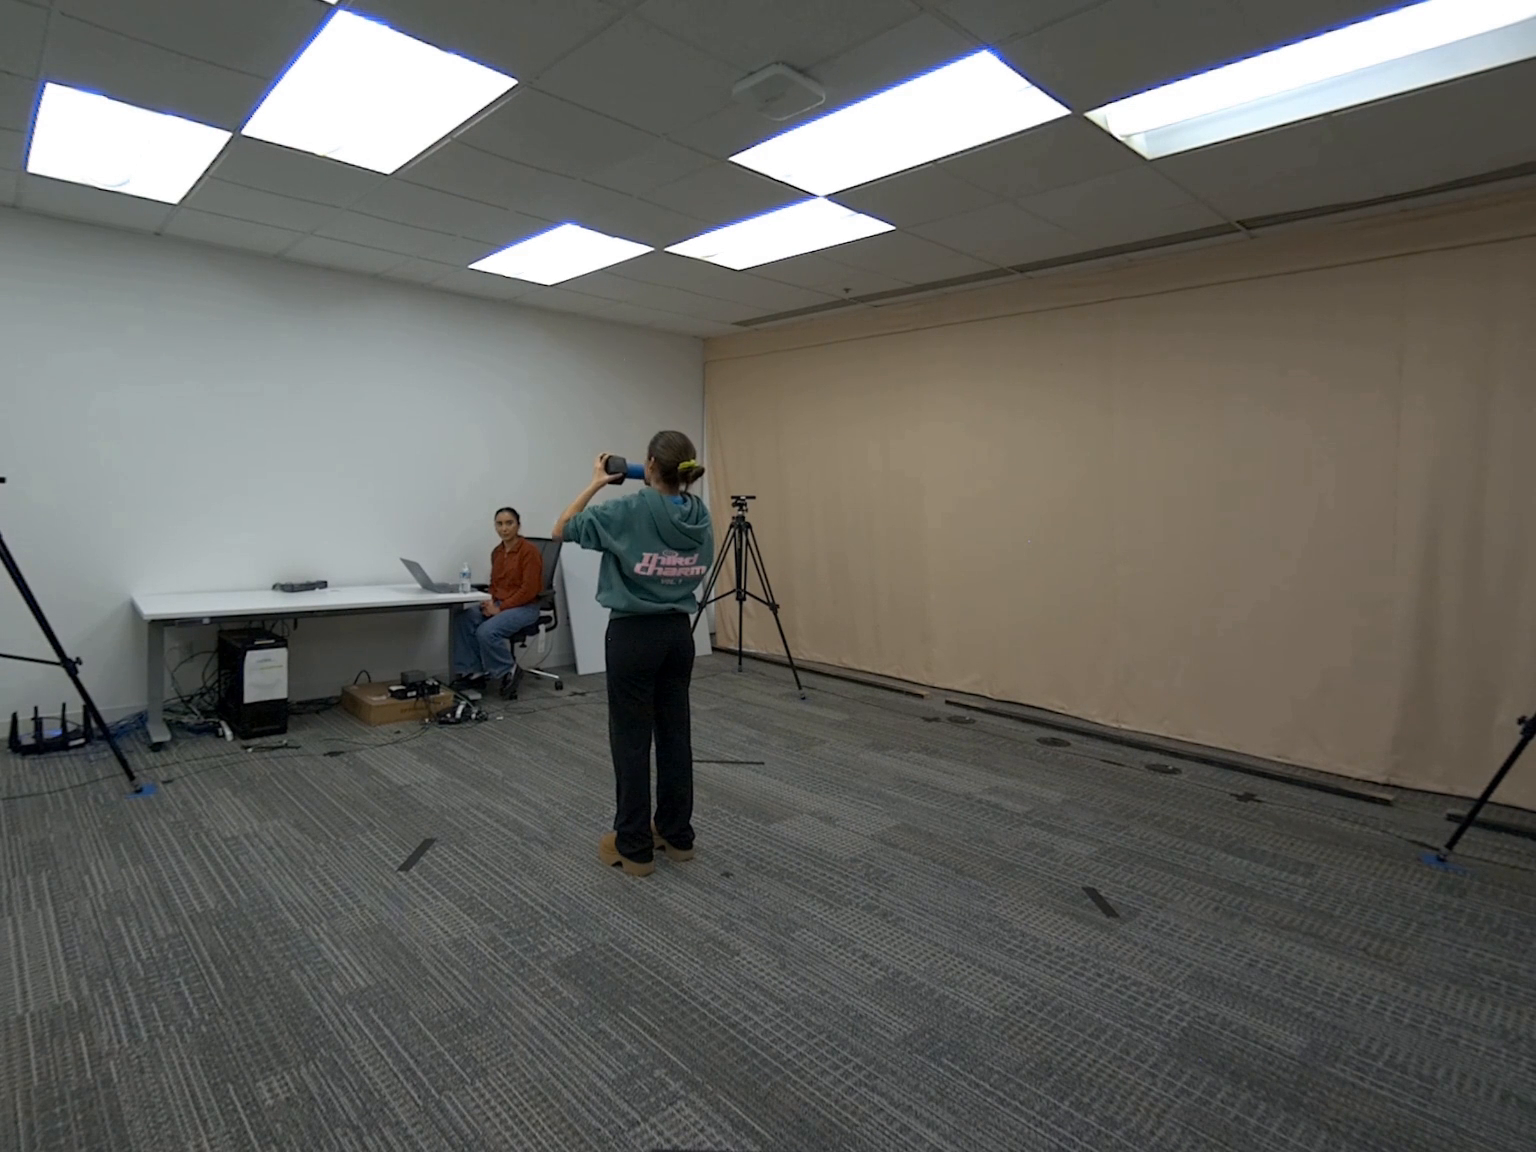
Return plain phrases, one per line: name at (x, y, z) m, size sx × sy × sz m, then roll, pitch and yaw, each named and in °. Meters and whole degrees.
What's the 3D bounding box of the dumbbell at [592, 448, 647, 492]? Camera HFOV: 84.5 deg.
dumbbell at (-0.518, -0.408, 3.280) m, size 0.287 × 0.124 × 0.110 m, roll -2°, pitch -17°, yaw -44°
